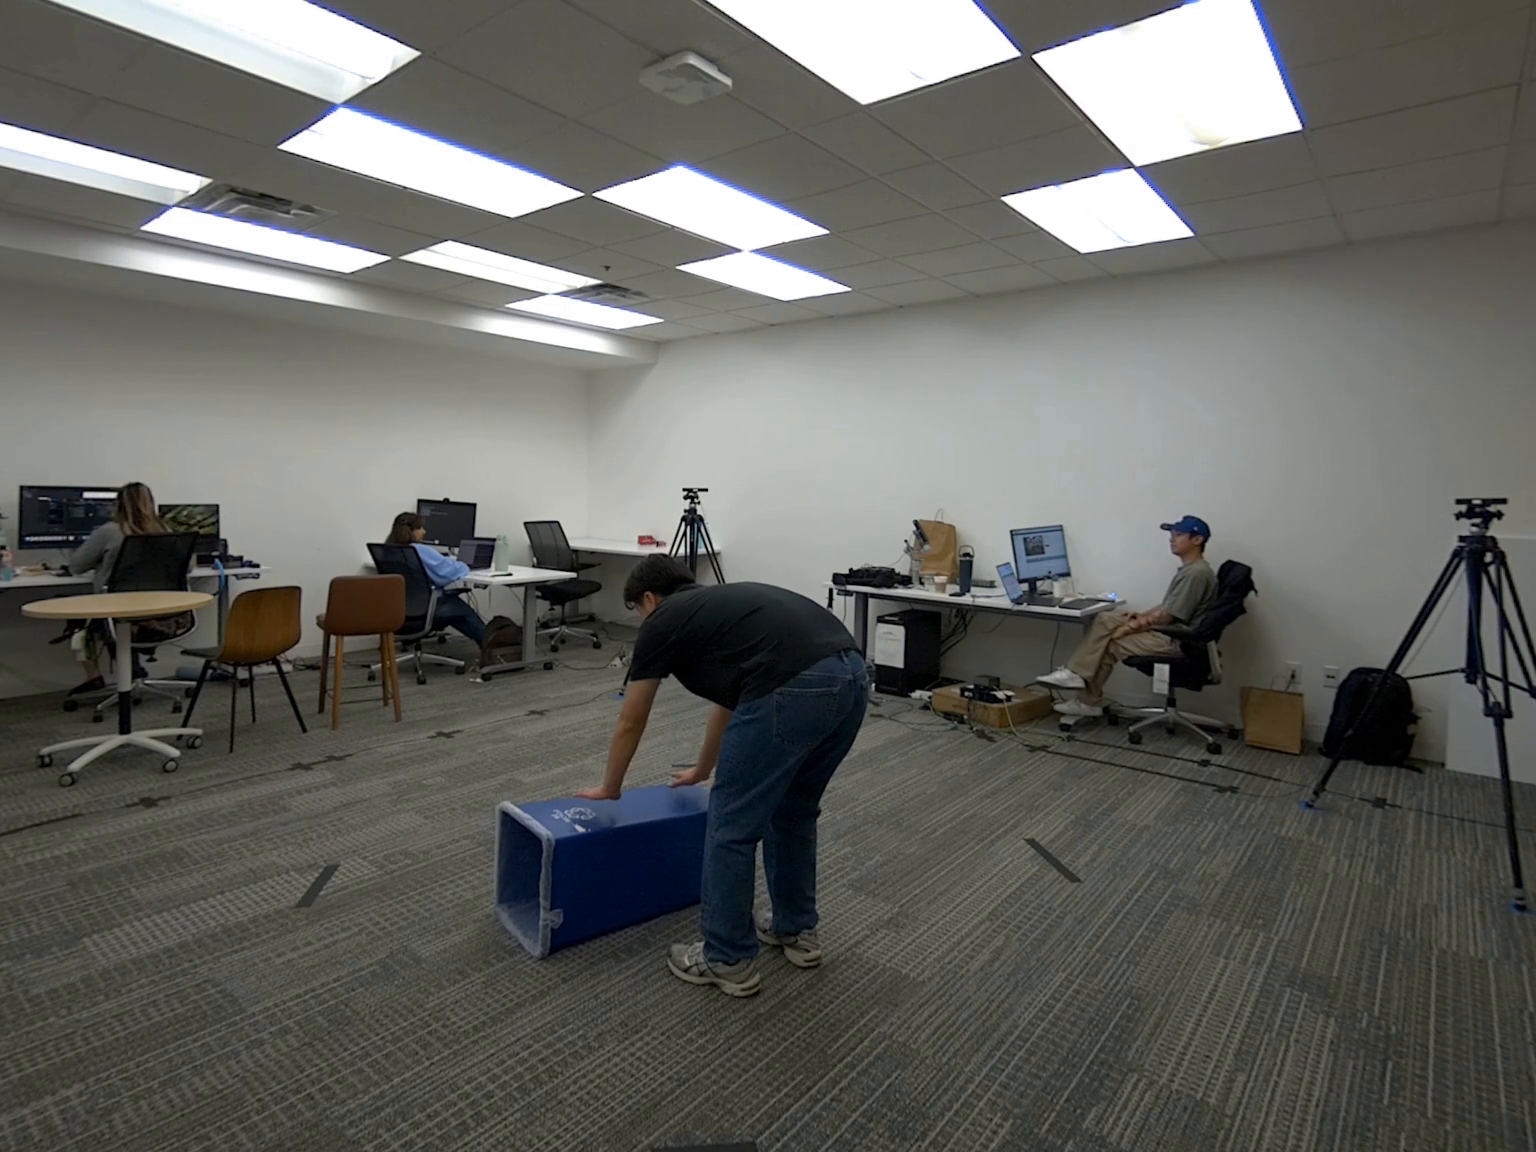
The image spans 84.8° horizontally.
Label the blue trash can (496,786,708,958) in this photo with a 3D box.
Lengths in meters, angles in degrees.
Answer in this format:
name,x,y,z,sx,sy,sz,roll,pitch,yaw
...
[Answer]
name,x,y,z,sx,sy,sz,roll,pitch,yaw
blue trash can,-0.512,0.926,2.830,0.691,0.377,0.386,1,3,-38
